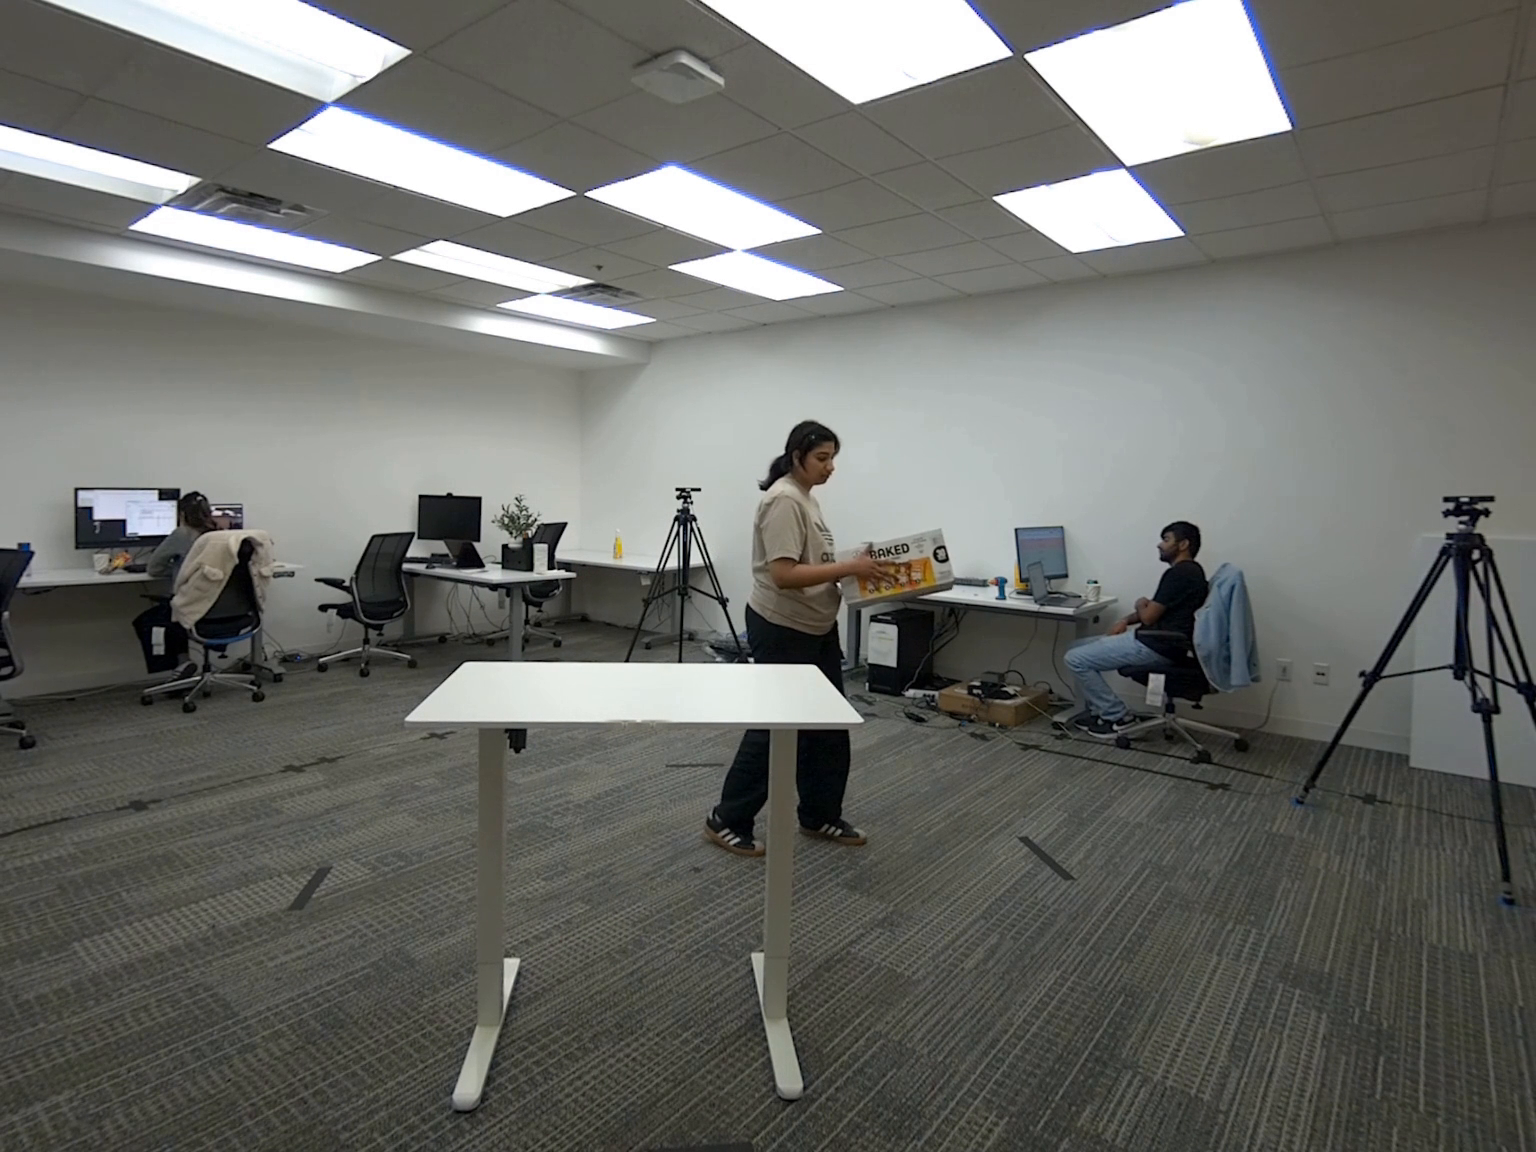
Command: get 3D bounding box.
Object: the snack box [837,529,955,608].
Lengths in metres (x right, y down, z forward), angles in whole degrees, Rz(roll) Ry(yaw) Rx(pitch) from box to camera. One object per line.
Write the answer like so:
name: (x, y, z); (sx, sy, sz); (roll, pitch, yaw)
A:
snack box: (0.480, -0.023, 3.289); (0.409, 0.208, 0.334); (-13, -8, 10)
